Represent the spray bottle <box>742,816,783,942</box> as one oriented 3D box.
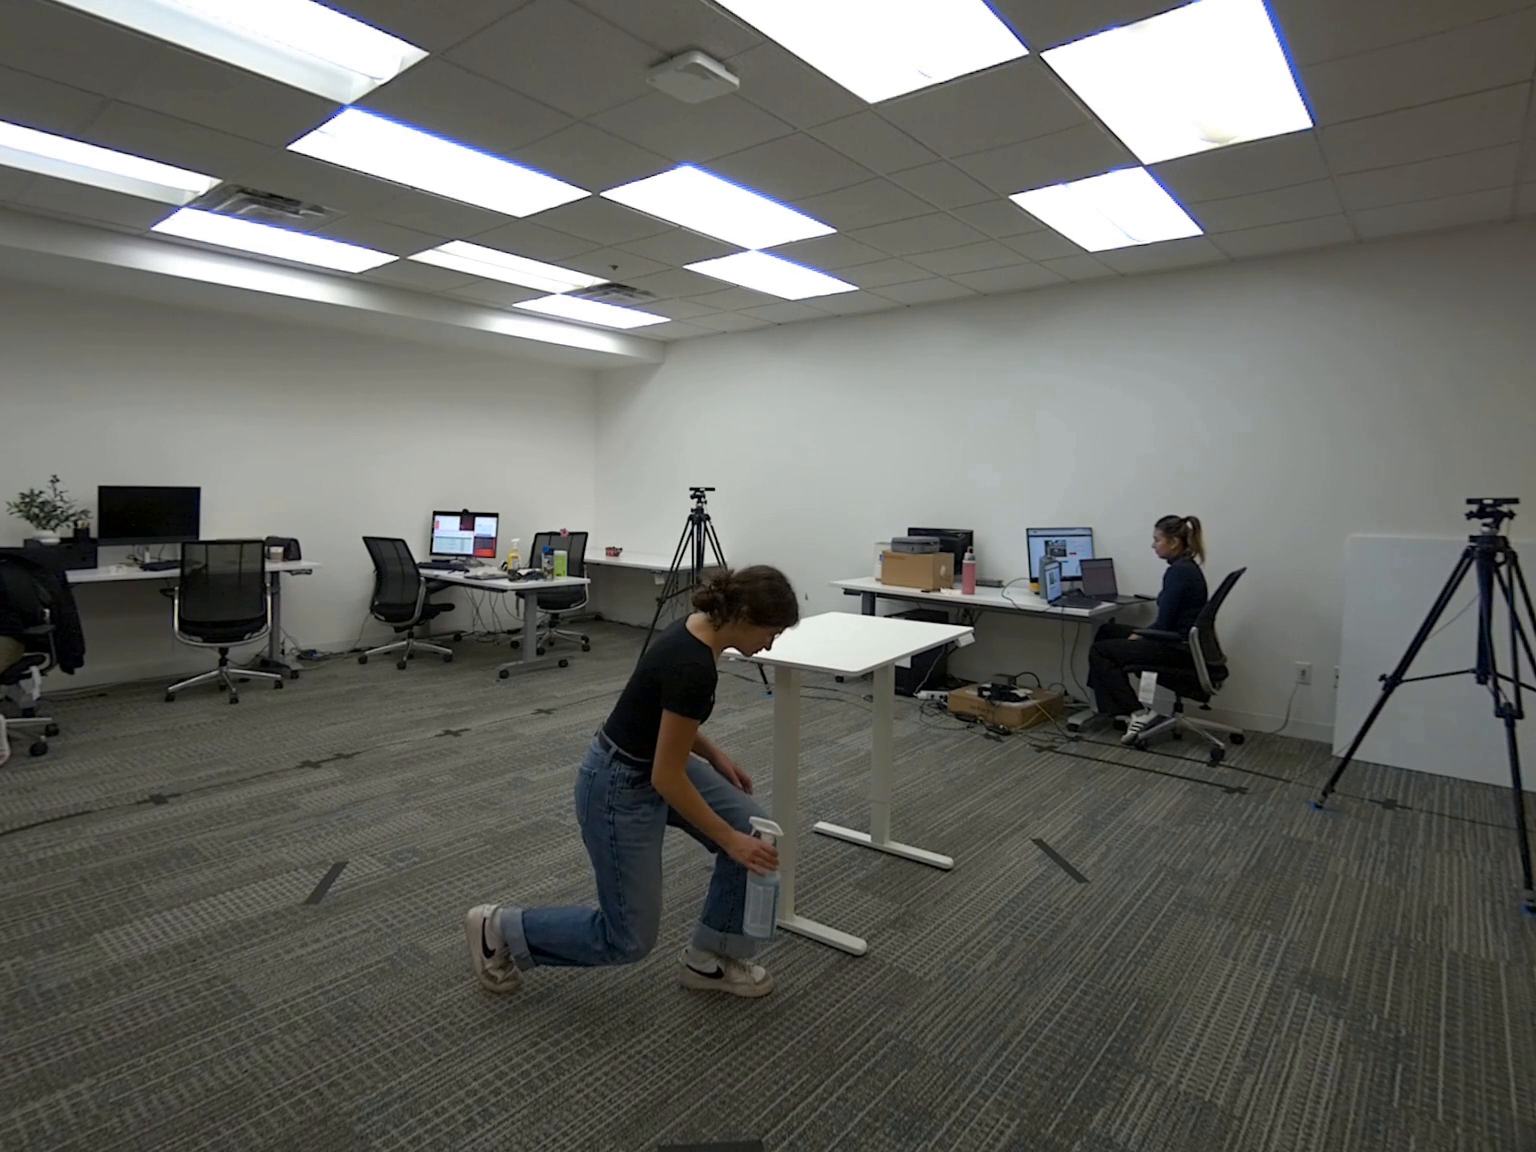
[{"bbox_3d":[-0.019,0.773,2.187,0.093,0.297,0.084,7,1,37],"label":"spray bottle"}]
